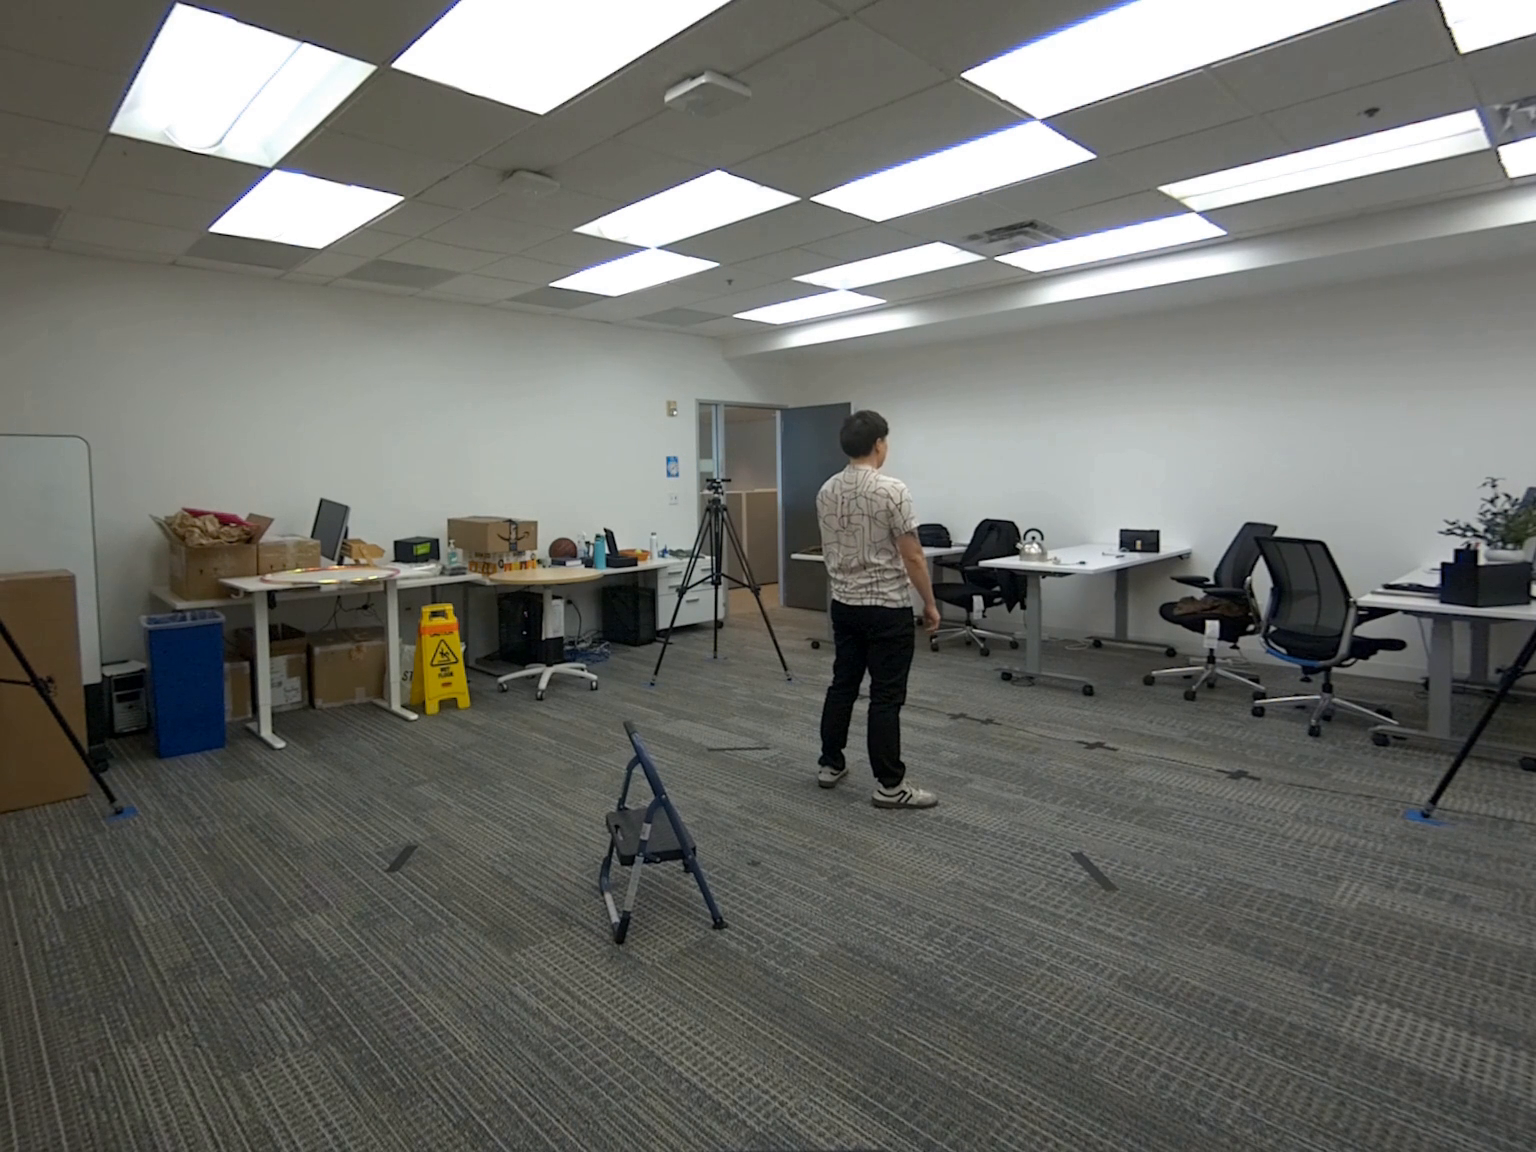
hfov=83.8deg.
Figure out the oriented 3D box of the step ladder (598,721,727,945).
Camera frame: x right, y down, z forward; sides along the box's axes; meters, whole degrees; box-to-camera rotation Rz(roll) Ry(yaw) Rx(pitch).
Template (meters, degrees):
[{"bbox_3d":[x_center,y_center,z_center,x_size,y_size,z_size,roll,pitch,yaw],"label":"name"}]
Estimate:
[{"bbox_3d":[-0.365,0.783,2.797,0.344,0.604,0.439,-3,5,-18],"label":"step ladder"}]
